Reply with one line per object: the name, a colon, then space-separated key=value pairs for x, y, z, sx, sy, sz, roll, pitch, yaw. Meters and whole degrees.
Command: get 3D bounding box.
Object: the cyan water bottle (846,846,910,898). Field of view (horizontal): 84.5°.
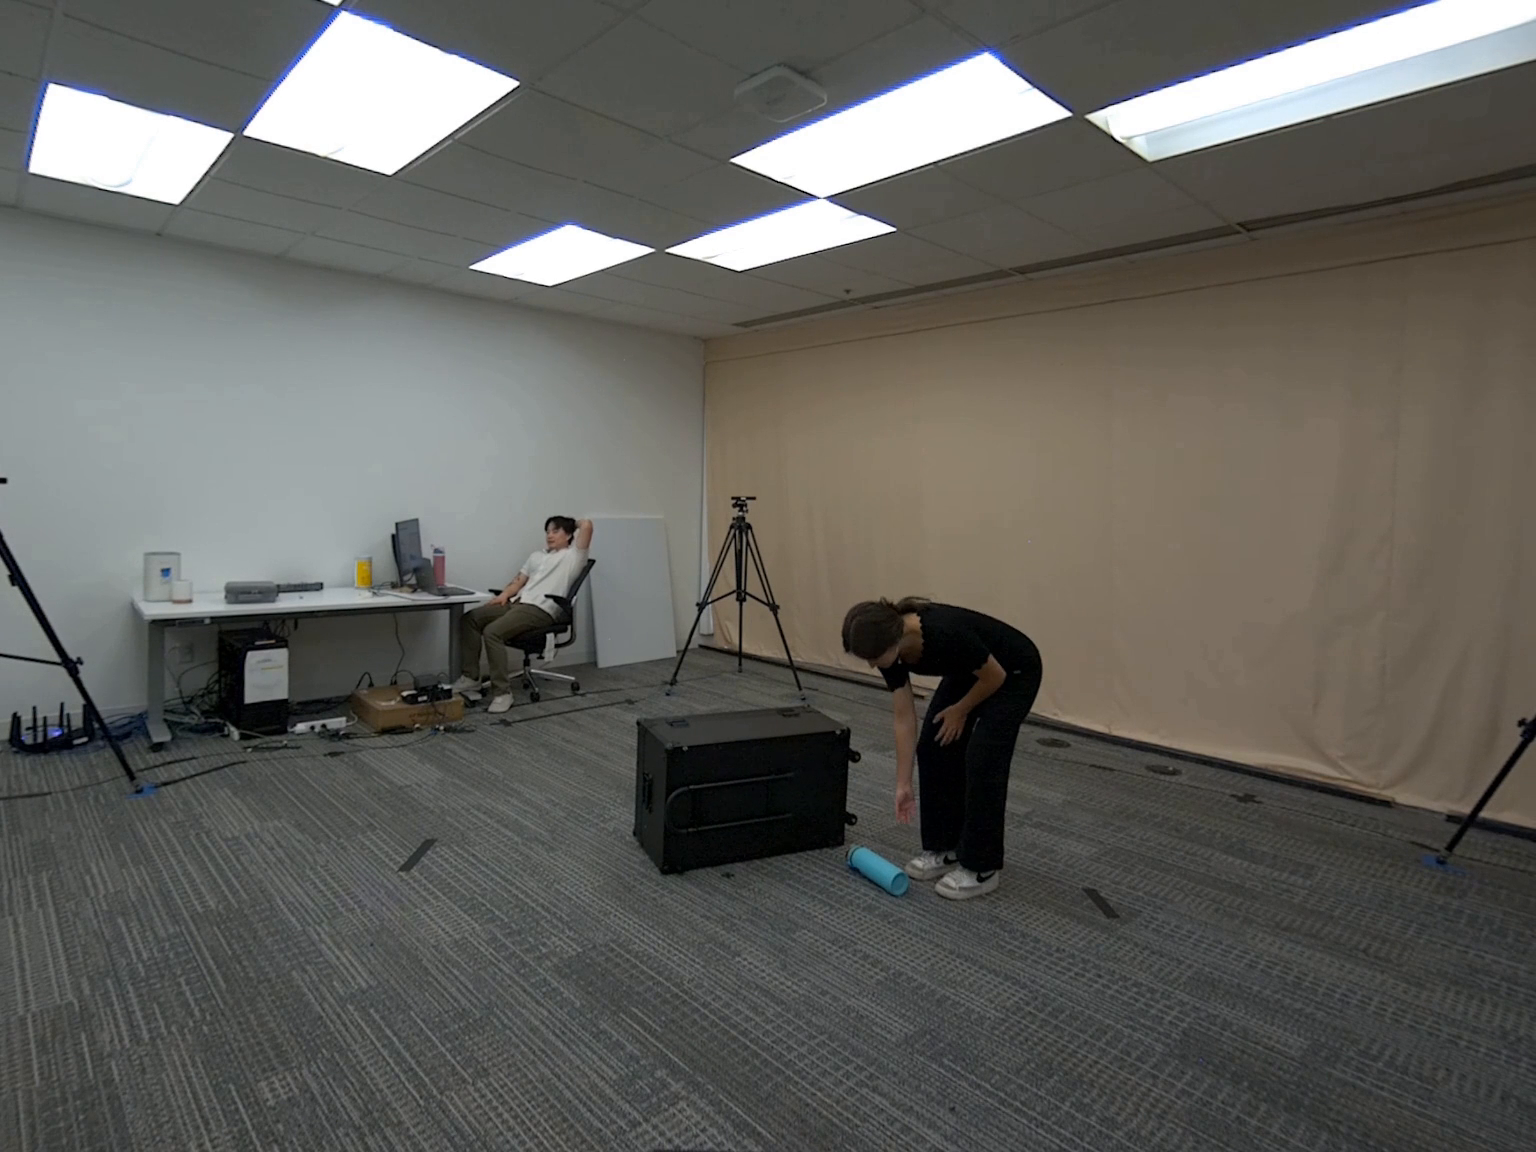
cyan water bottle: x=0.380 y=1.062 z=3.096 sx=0.090 sy=0.092 sz=0.290 roll=-1 pitch=6 yaw=-32
